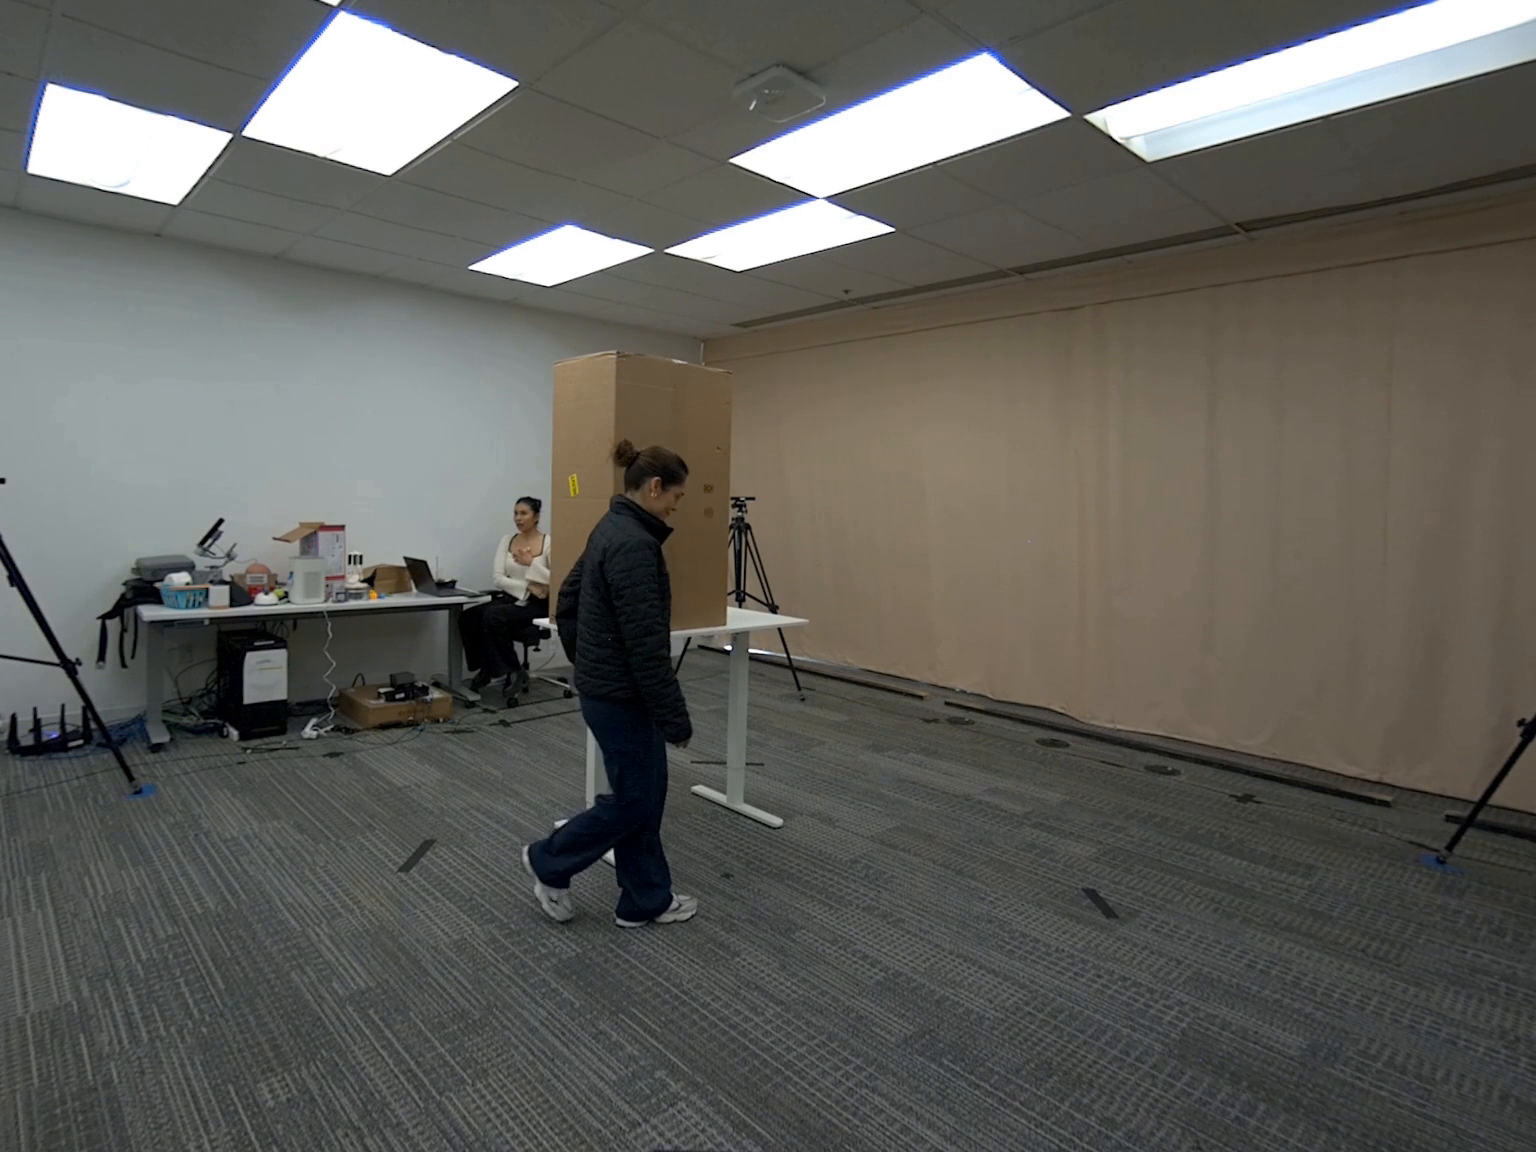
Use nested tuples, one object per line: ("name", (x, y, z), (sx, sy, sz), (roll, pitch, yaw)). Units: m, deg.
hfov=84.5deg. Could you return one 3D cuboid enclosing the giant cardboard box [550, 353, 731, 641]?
("giant cardboard box", (-0.506, -0.311, 3.322), (0.437, 1.024, 0.564), (4, 4, 45))
